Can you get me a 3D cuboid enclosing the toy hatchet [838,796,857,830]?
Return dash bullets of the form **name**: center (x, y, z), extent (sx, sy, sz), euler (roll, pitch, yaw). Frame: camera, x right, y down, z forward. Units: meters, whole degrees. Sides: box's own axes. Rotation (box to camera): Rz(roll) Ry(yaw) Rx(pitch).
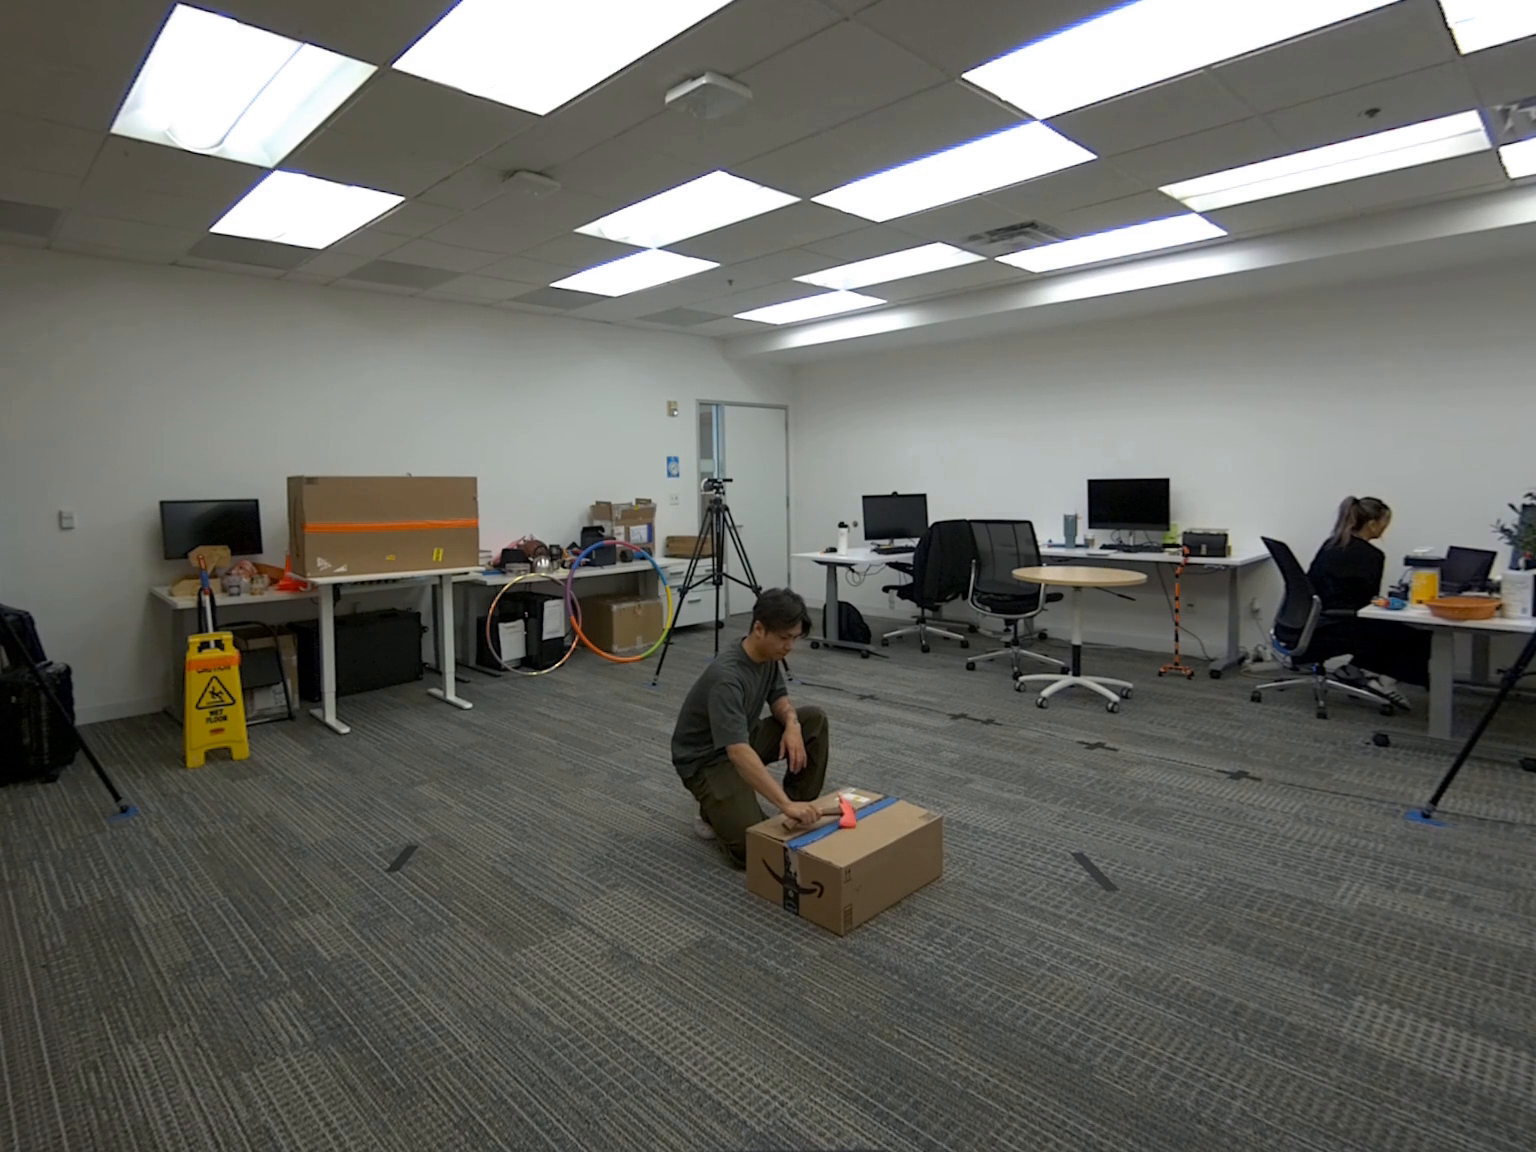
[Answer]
- **toy hatchet**: center (0.177, 0.826, 2.866), extent (0.265, 0.029, 0.136), euler (-16, 40, -32)
